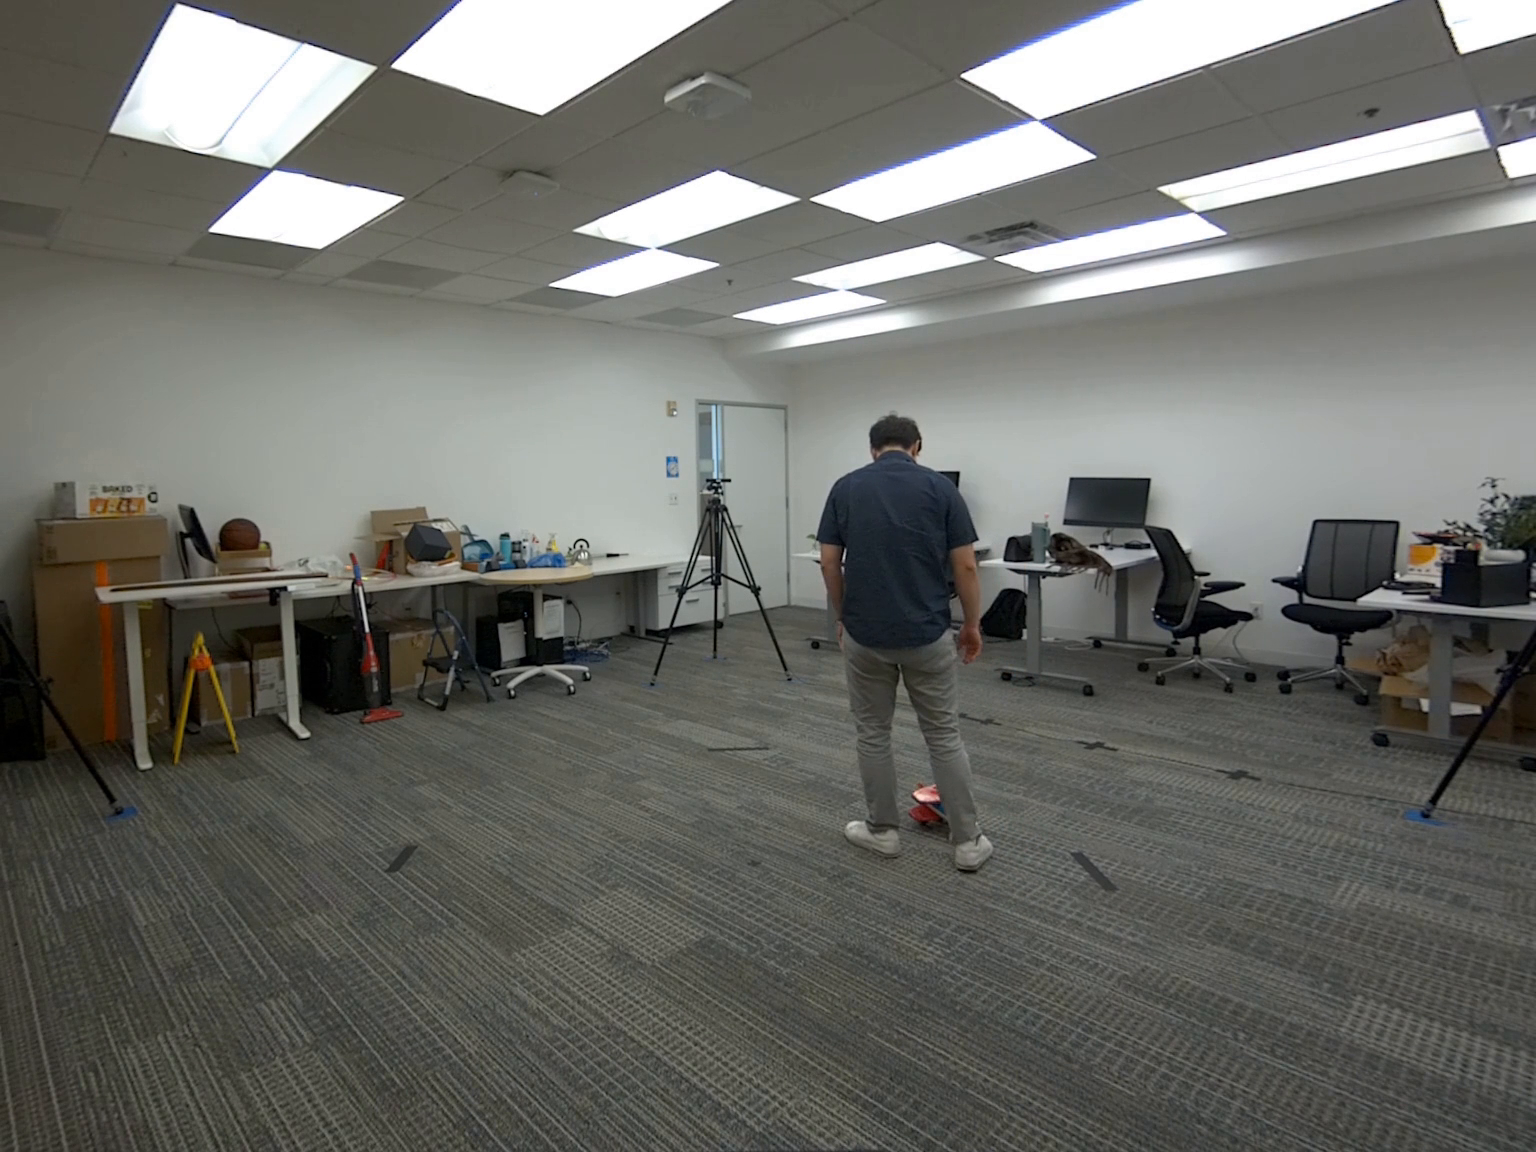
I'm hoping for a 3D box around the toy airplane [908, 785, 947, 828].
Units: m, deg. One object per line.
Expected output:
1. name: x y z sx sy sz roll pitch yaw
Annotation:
1. toy airplane: 0.717 0.928 3.394 0.266 0.156 0.245 2 5 34
